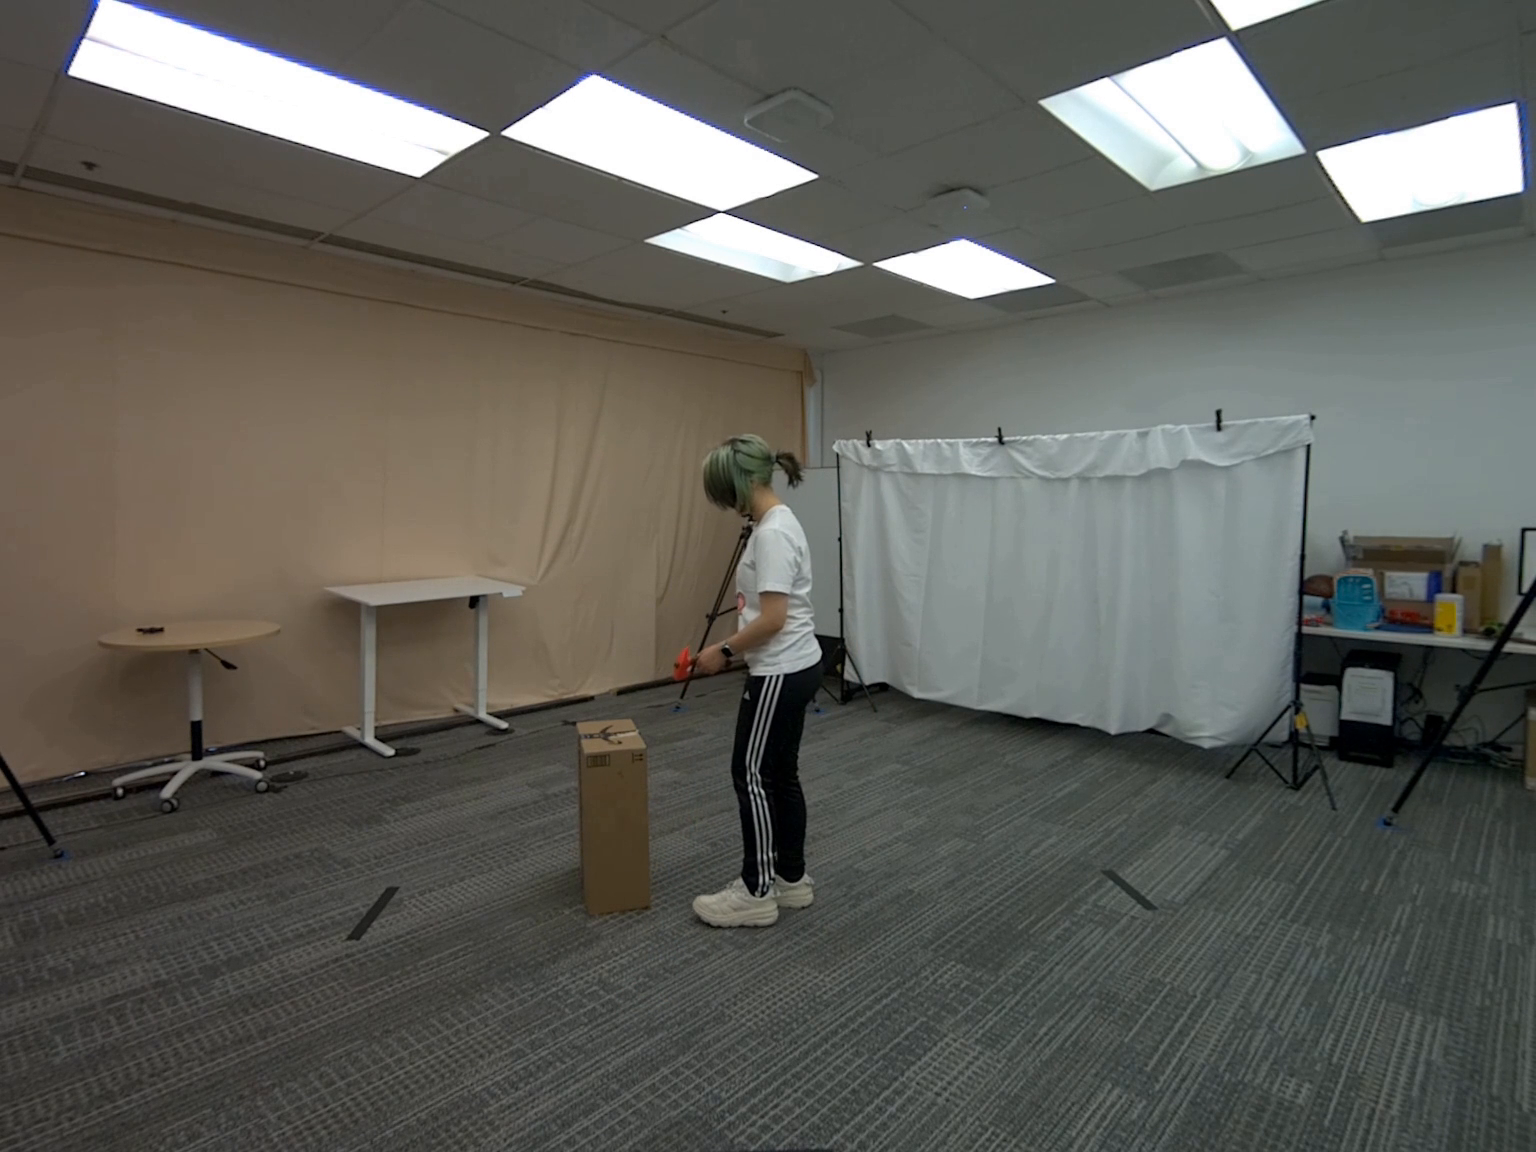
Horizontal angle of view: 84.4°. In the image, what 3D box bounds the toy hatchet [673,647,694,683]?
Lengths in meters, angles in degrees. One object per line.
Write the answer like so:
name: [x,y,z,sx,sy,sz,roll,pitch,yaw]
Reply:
toy hatchet: [-0.233,0.322,2.911,0.031,0.131,0.260,37,8,40]
